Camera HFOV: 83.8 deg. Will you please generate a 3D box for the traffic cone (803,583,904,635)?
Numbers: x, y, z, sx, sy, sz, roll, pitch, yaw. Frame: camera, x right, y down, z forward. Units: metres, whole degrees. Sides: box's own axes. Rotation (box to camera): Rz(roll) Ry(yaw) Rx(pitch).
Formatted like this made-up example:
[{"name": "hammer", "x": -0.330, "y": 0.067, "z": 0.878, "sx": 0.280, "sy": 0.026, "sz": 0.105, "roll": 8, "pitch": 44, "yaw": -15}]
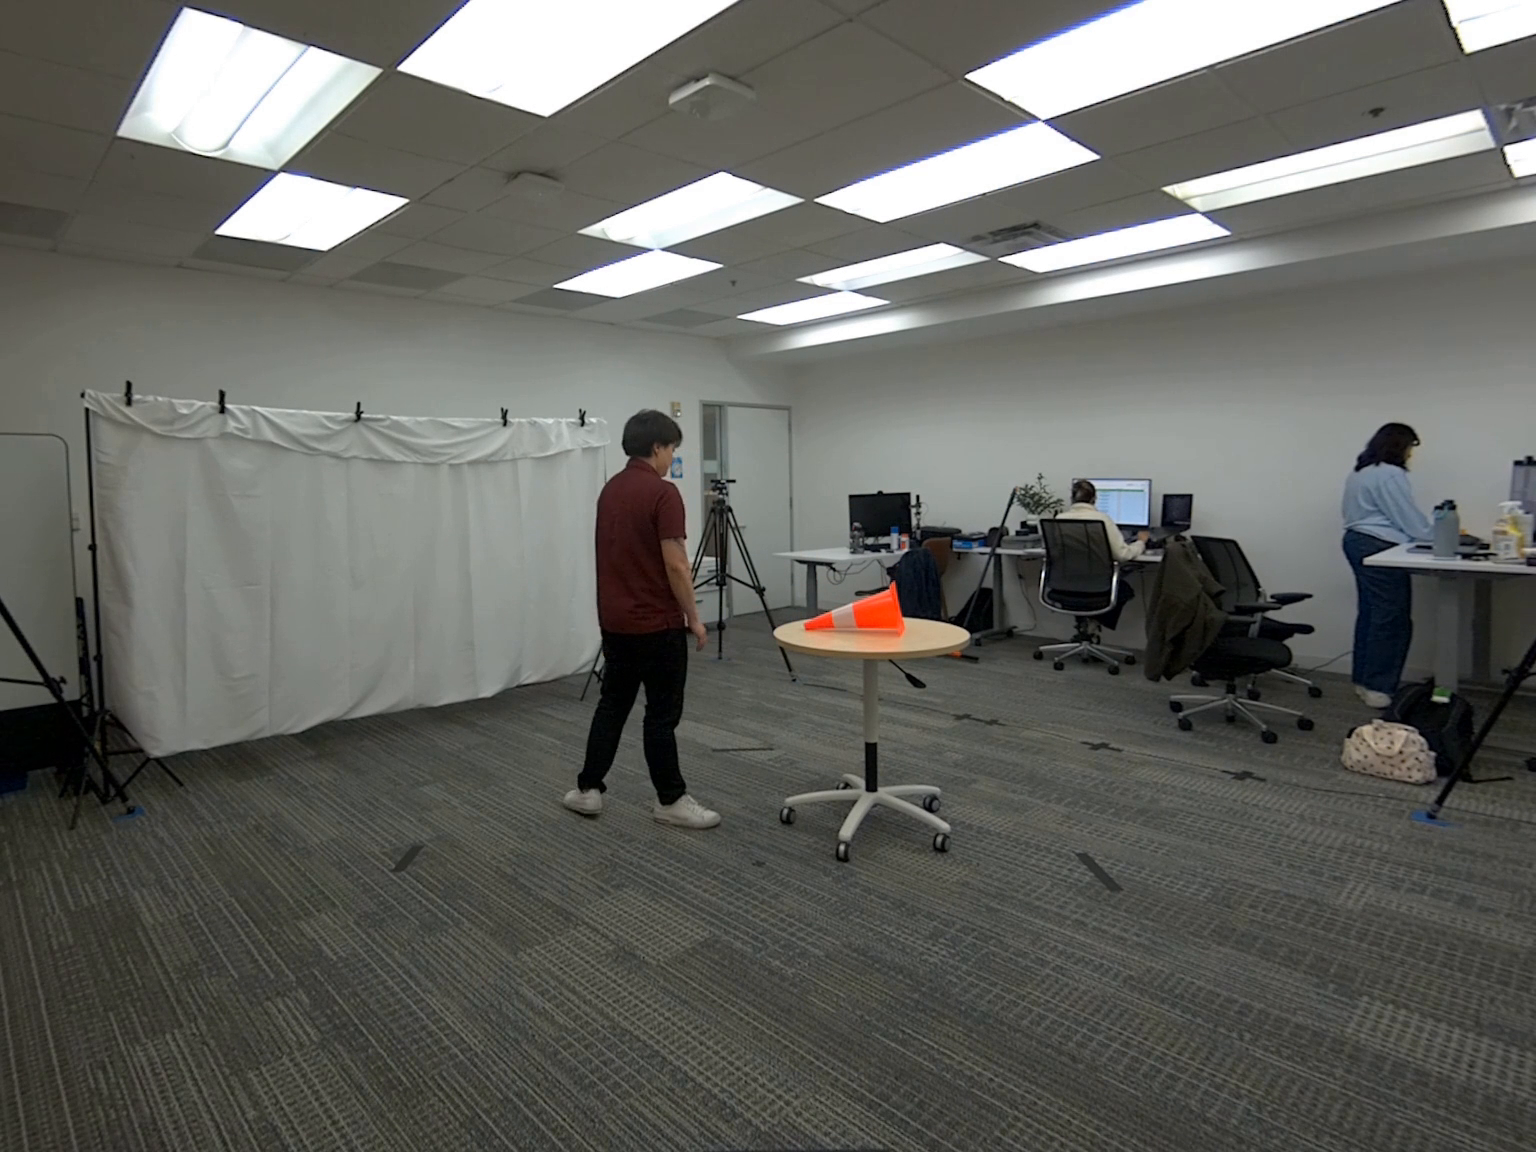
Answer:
[{"name": "traffic cone", "x": 0.327, "y": 0.158, "z": 3.424, "sx": 0.387, "sy": 0.207, "sz": 0.200, "roll": -11, "pitch": -7, "yaw": 12}]
